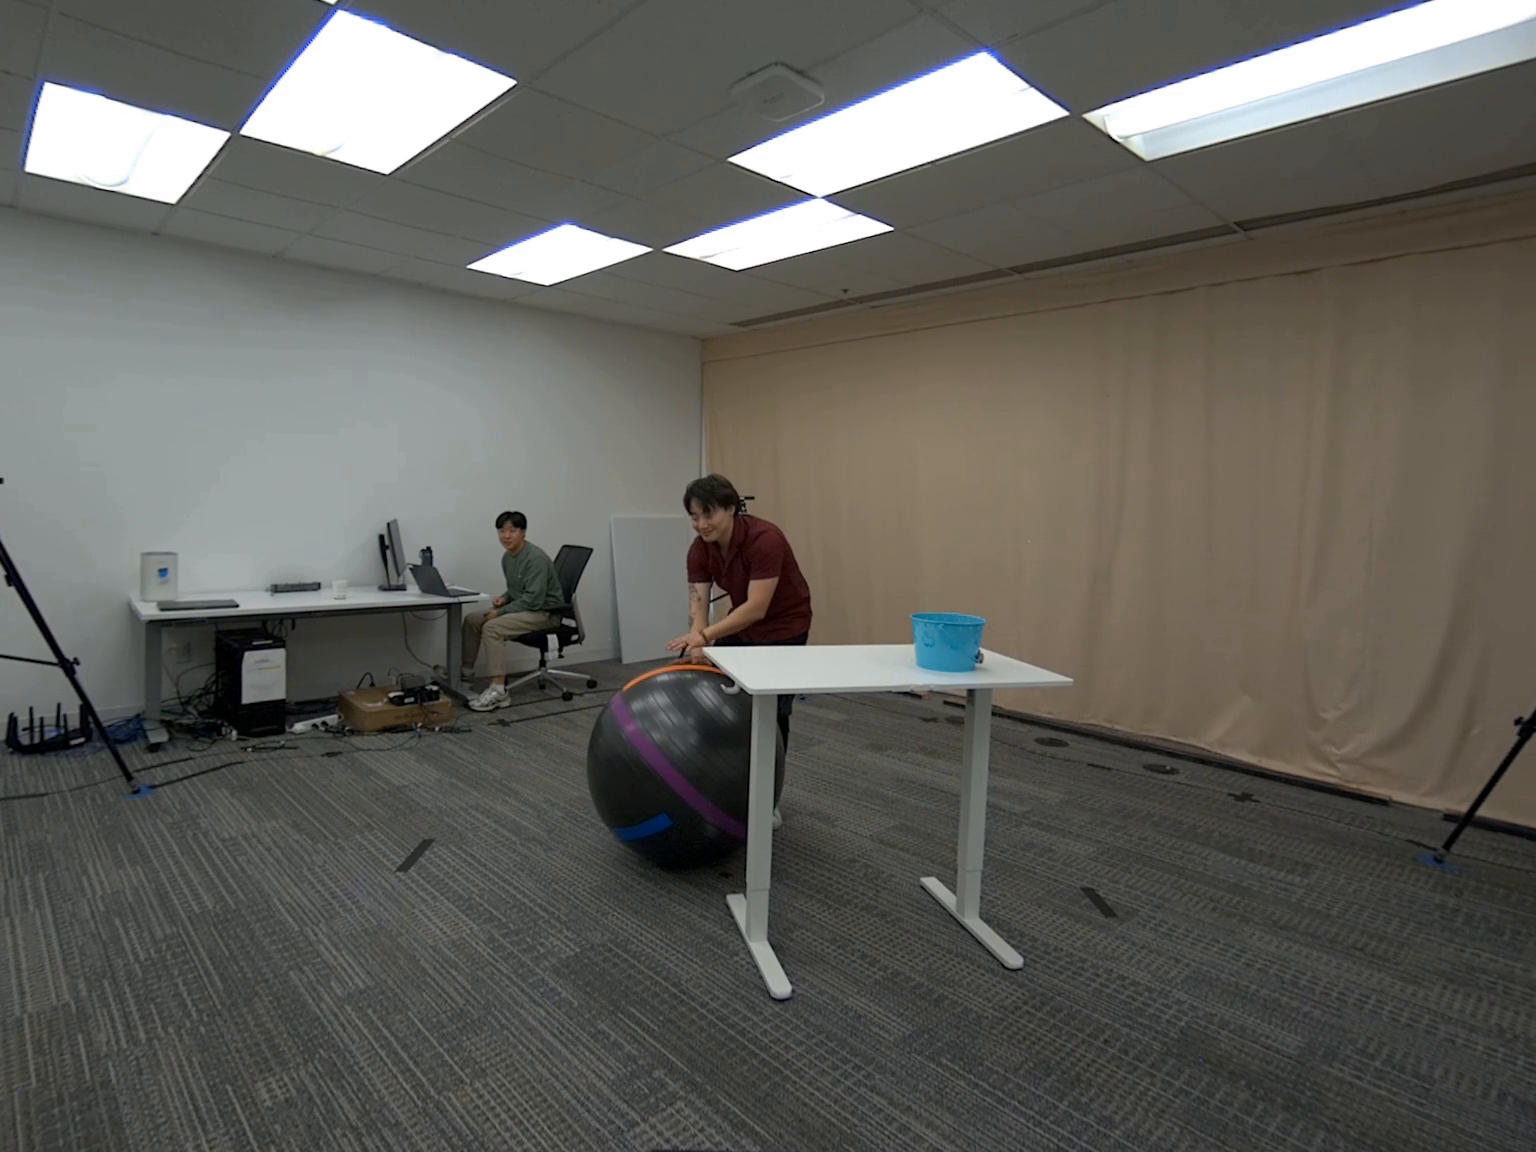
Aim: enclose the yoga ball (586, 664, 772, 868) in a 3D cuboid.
[{"bbox_3d":[-0.324,0.719,3.256,0.757,0.756,0.760,1,4,-1],"label":"yoga ball"}]
